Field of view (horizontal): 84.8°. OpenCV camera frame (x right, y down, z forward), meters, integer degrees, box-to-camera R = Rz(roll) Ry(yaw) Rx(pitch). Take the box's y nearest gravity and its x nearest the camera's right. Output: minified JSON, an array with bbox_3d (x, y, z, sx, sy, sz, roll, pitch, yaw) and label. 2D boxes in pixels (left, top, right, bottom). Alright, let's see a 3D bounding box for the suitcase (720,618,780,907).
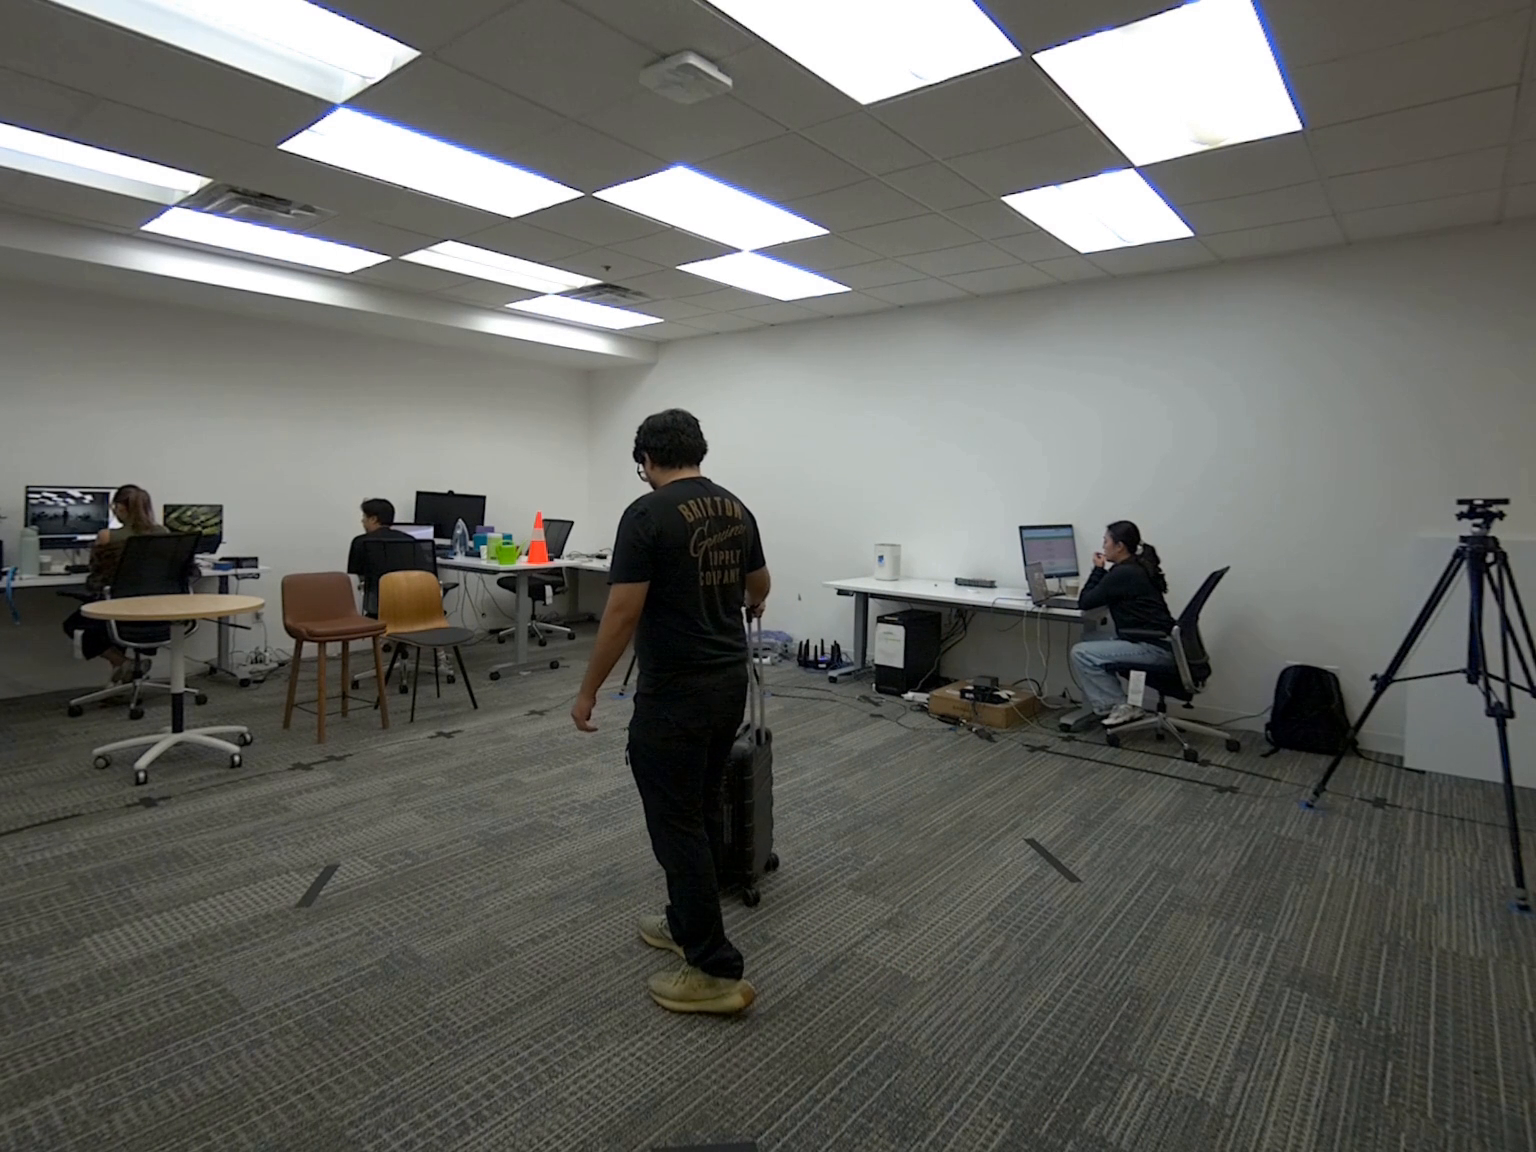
[{"bbox_3d":[-0.150,0.608,3.019,0.261,0.978,0.378,-3,1,14],"label":"suitcase"}]
